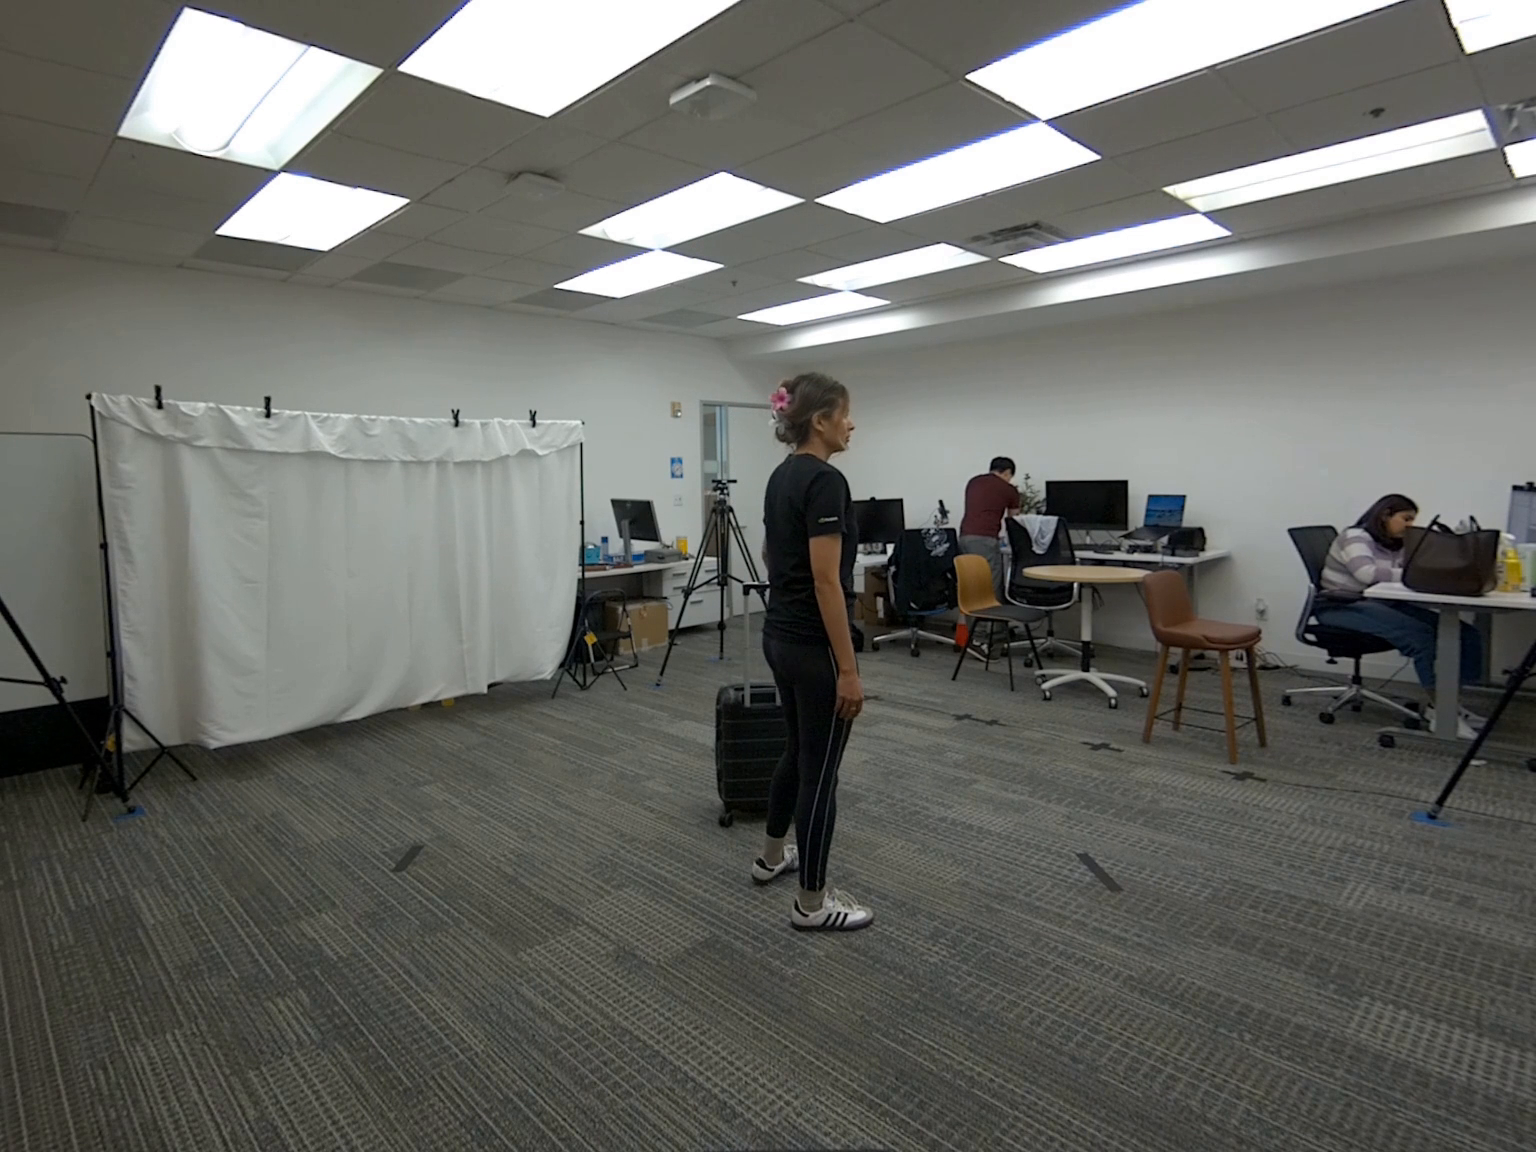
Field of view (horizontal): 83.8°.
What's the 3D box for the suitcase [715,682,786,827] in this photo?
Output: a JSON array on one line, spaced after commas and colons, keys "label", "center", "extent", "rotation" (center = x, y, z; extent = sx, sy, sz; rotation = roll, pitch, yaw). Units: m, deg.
[{"label": "suitcase", "center": [-0.035, 0.515, 3.562], "extent": [0.383, 0.977, 0.258], "rotation": [-1, 2, -2]}]
